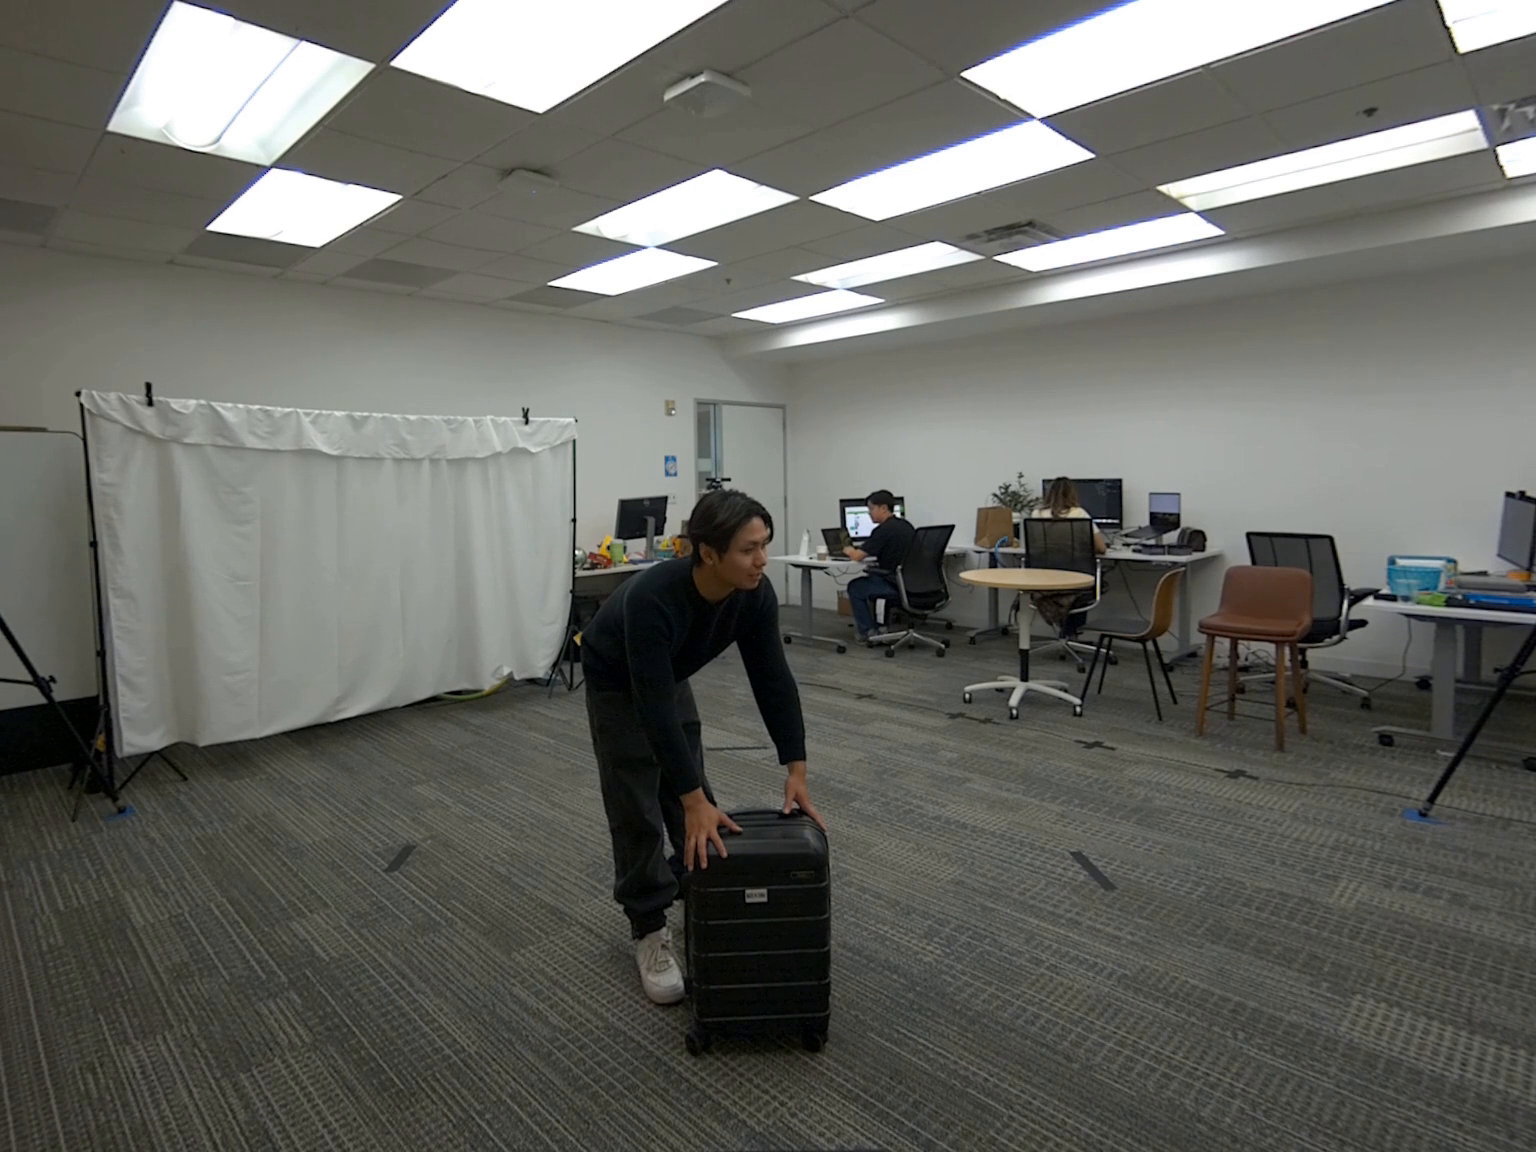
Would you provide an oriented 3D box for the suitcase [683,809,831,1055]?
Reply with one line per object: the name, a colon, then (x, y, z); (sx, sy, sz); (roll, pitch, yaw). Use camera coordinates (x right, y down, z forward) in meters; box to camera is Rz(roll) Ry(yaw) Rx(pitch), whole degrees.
suitcase: (-0.017, 0.878, 2.159); (0.375, 0.547, 0.250); (-2, 4, -2)
